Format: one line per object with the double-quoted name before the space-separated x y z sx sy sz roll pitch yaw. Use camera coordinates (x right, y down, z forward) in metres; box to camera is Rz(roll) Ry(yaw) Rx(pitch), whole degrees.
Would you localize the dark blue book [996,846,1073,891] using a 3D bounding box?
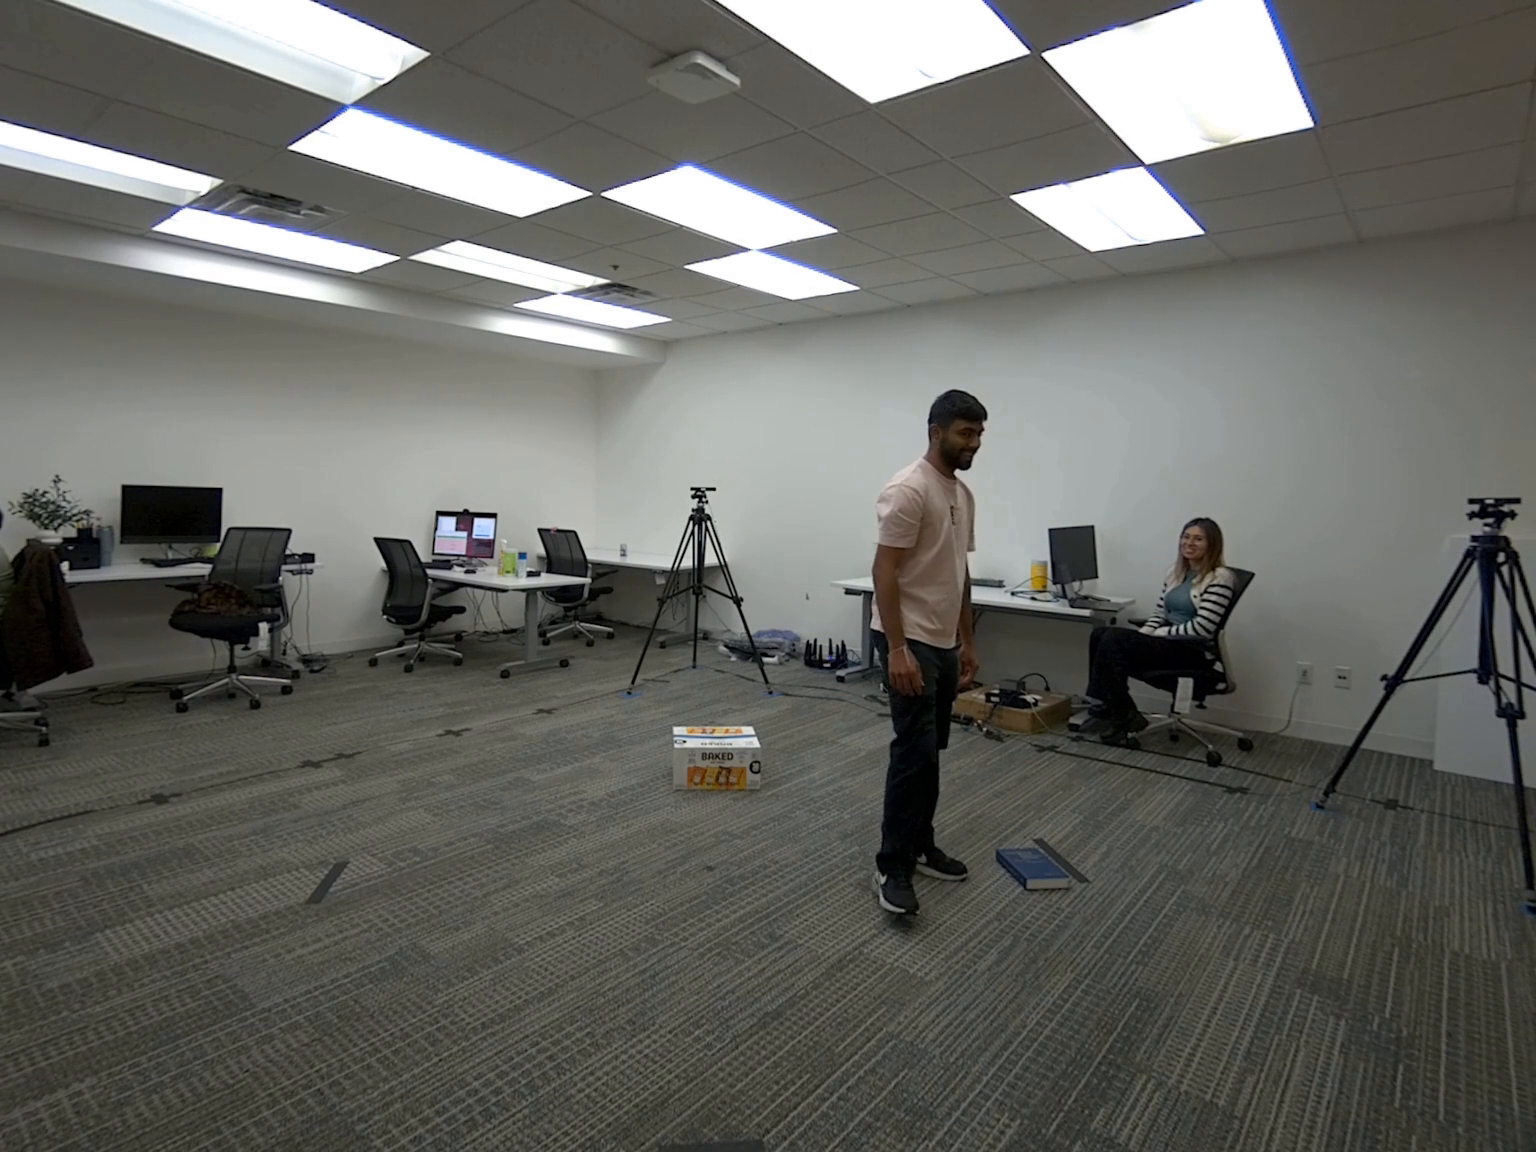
"dark blue book" 0.963 1.071 3.121 0.162 0.045 0.248 1 6 -10
